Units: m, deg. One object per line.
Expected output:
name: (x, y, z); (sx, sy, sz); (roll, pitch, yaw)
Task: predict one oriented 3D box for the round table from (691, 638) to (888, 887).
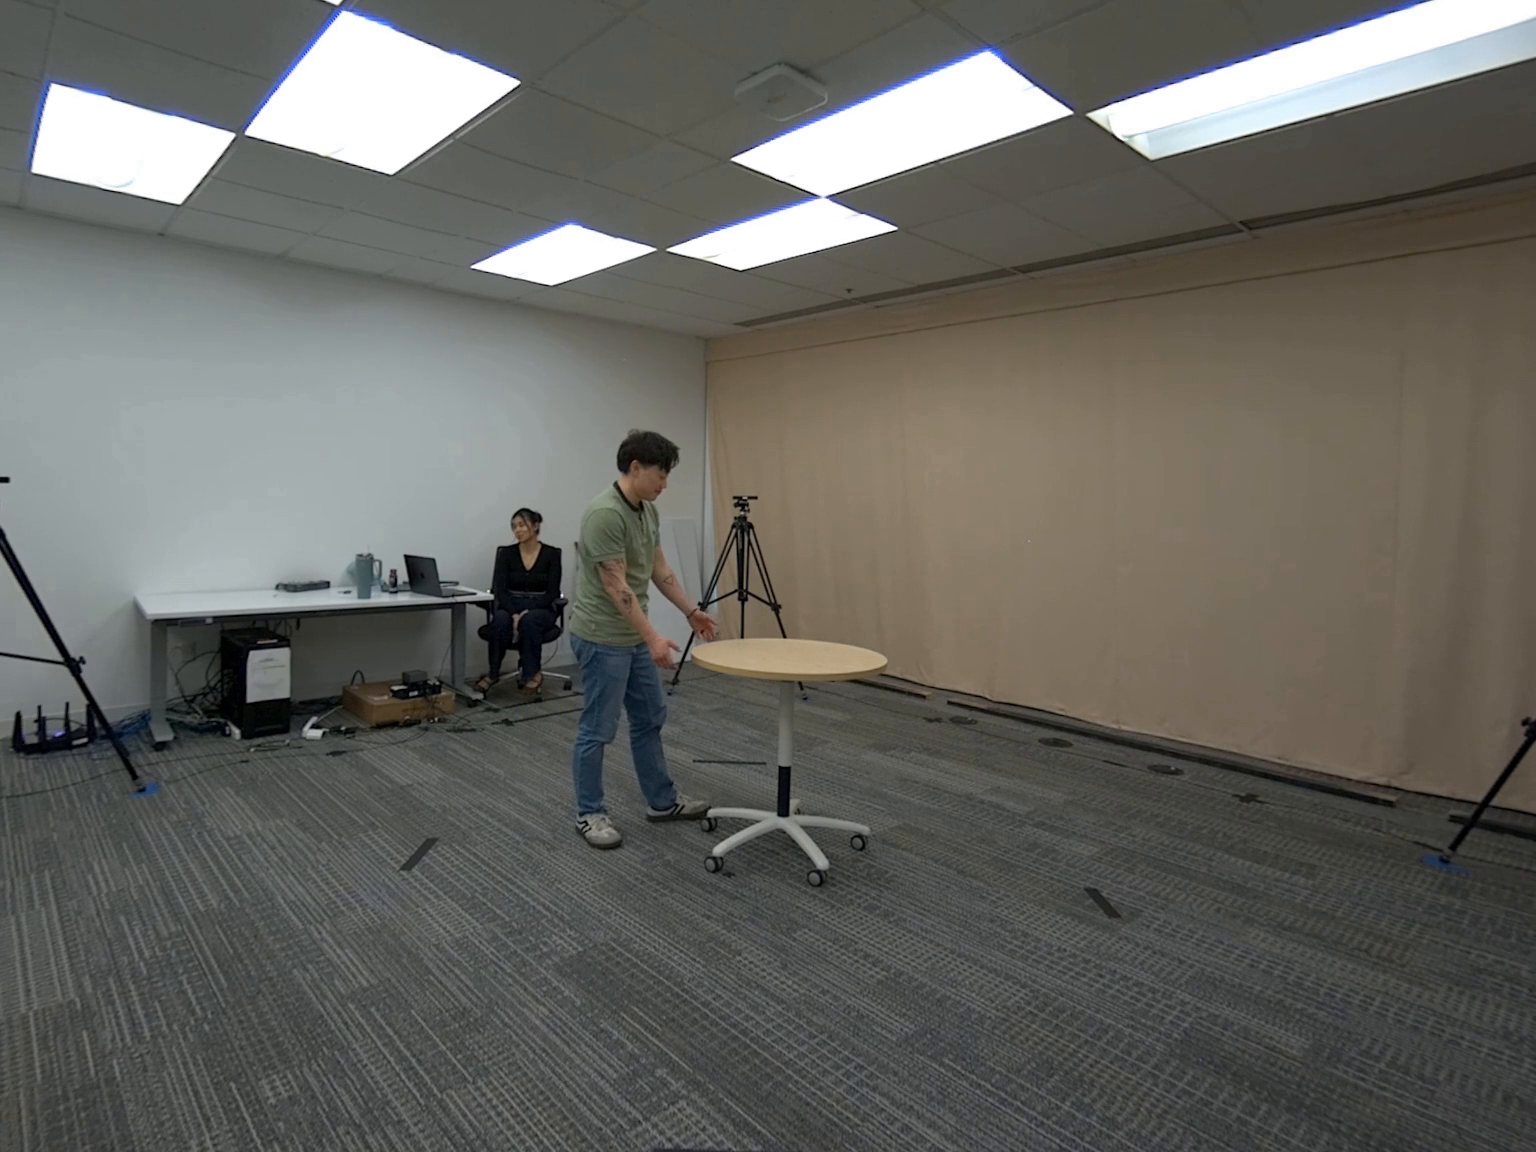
round table: (0.053, 0.700, 3.313); (0.763, 0.792, 0.766); (2, 4, -1)
